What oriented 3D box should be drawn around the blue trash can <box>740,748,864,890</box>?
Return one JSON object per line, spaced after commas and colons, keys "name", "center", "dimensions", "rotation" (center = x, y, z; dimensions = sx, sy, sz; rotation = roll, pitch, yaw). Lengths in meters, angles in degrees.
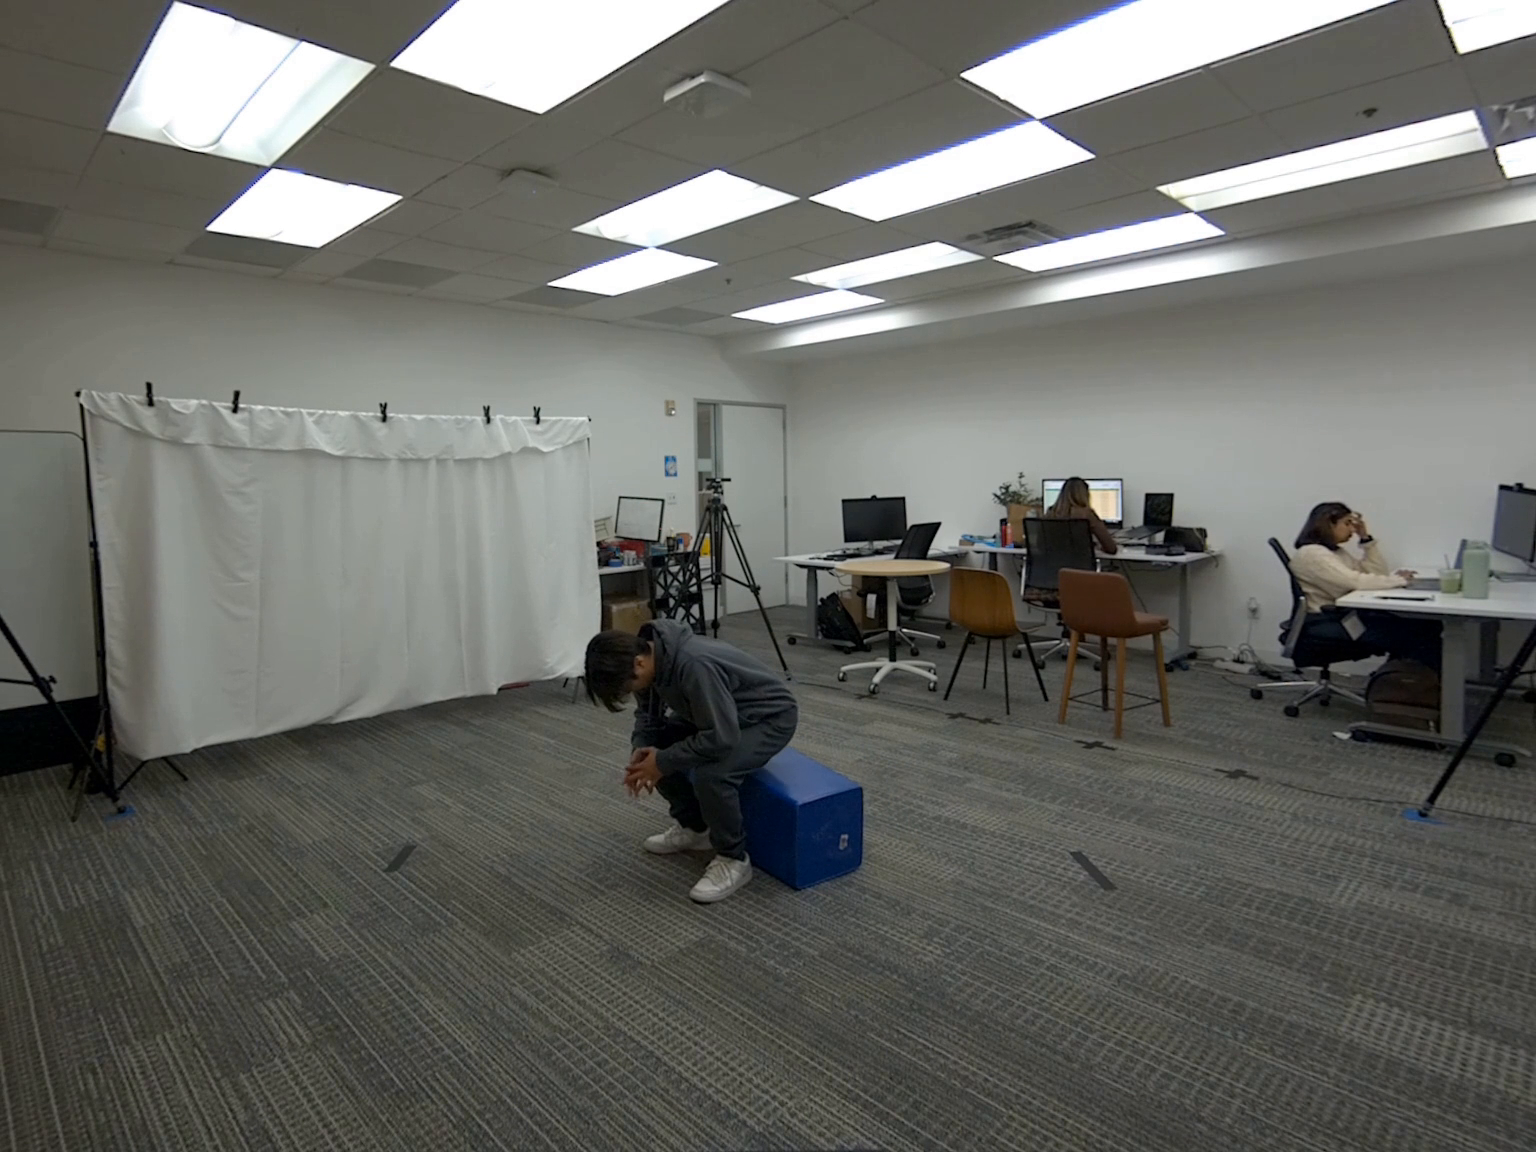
{"name": "blue trash can", "center": [0.016, 0.856, 3.248], "dimensions": [0.364, 0.376, 0.736], "rotation": [-4, 9, -35]}
